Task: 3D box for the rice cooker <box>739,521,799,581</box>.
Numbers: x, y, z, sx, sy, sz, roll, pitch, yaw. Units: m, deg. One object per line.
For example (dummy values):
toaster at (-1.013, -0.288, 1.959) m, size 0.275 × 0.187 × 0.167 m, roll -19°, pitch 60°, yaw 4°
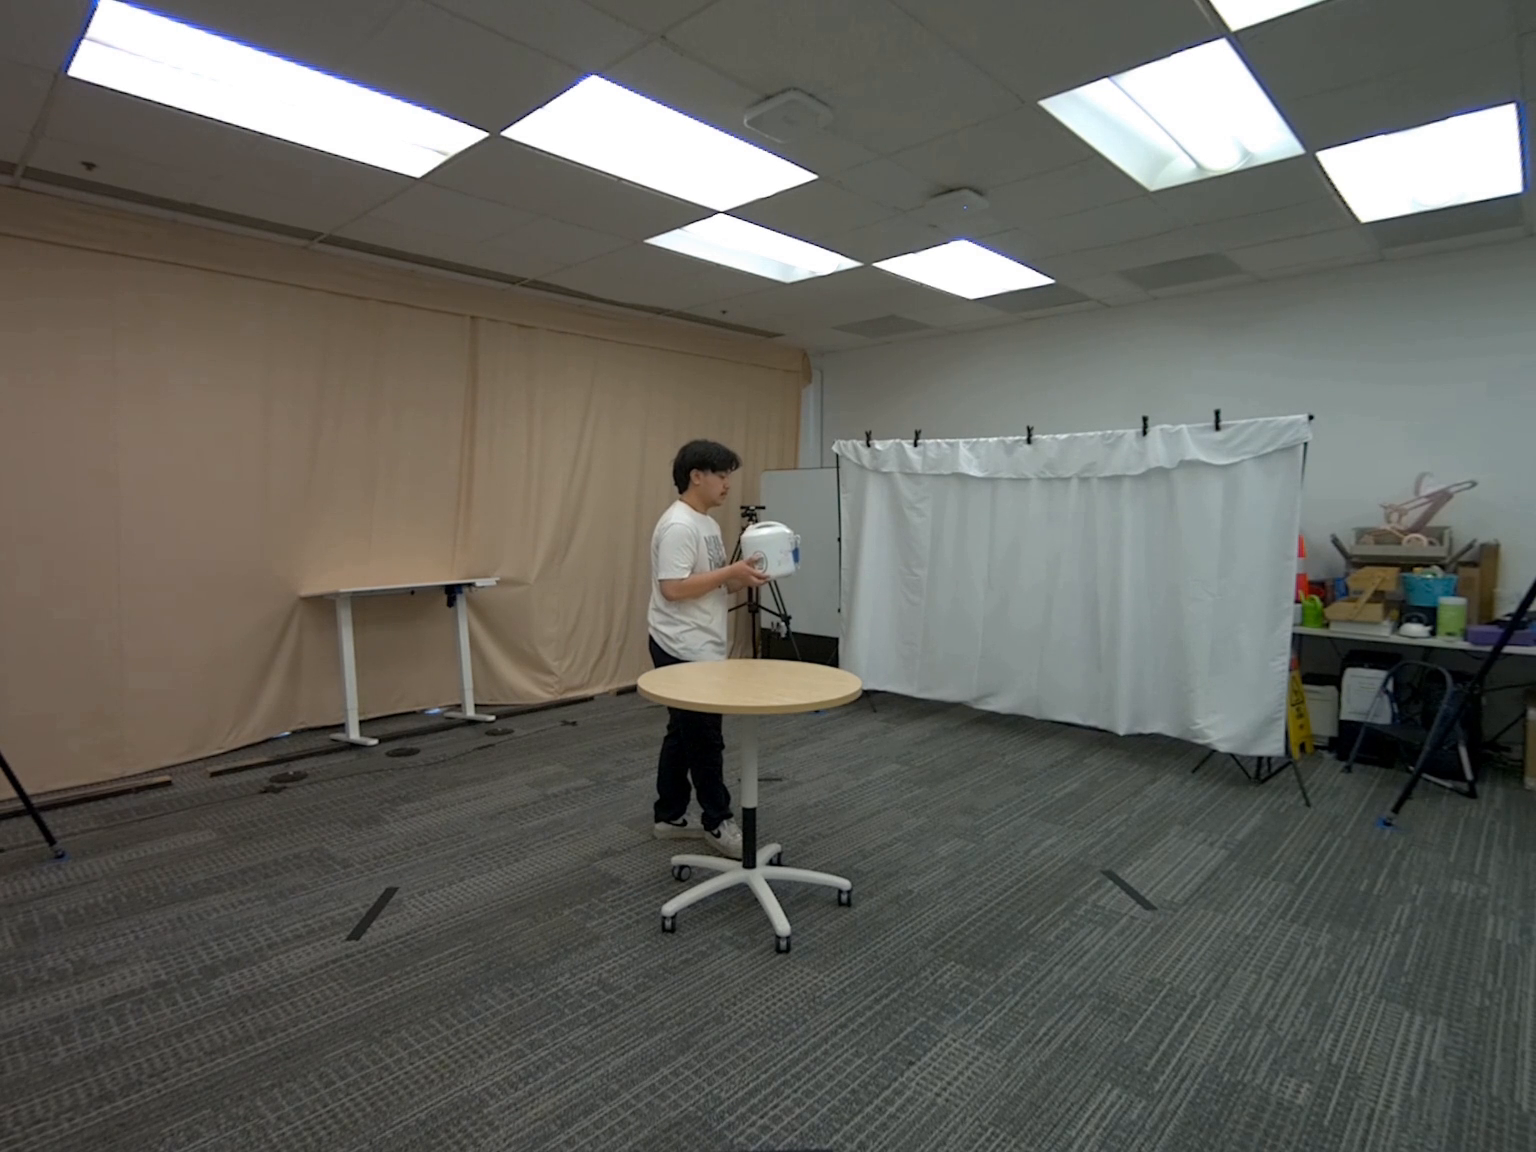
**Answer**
rice cooker at (0.008, -0.104, 3.381) m, size 0.225 × 0.232 × 0.213 m, roll -6°, pitch 4°, yaw 22°
